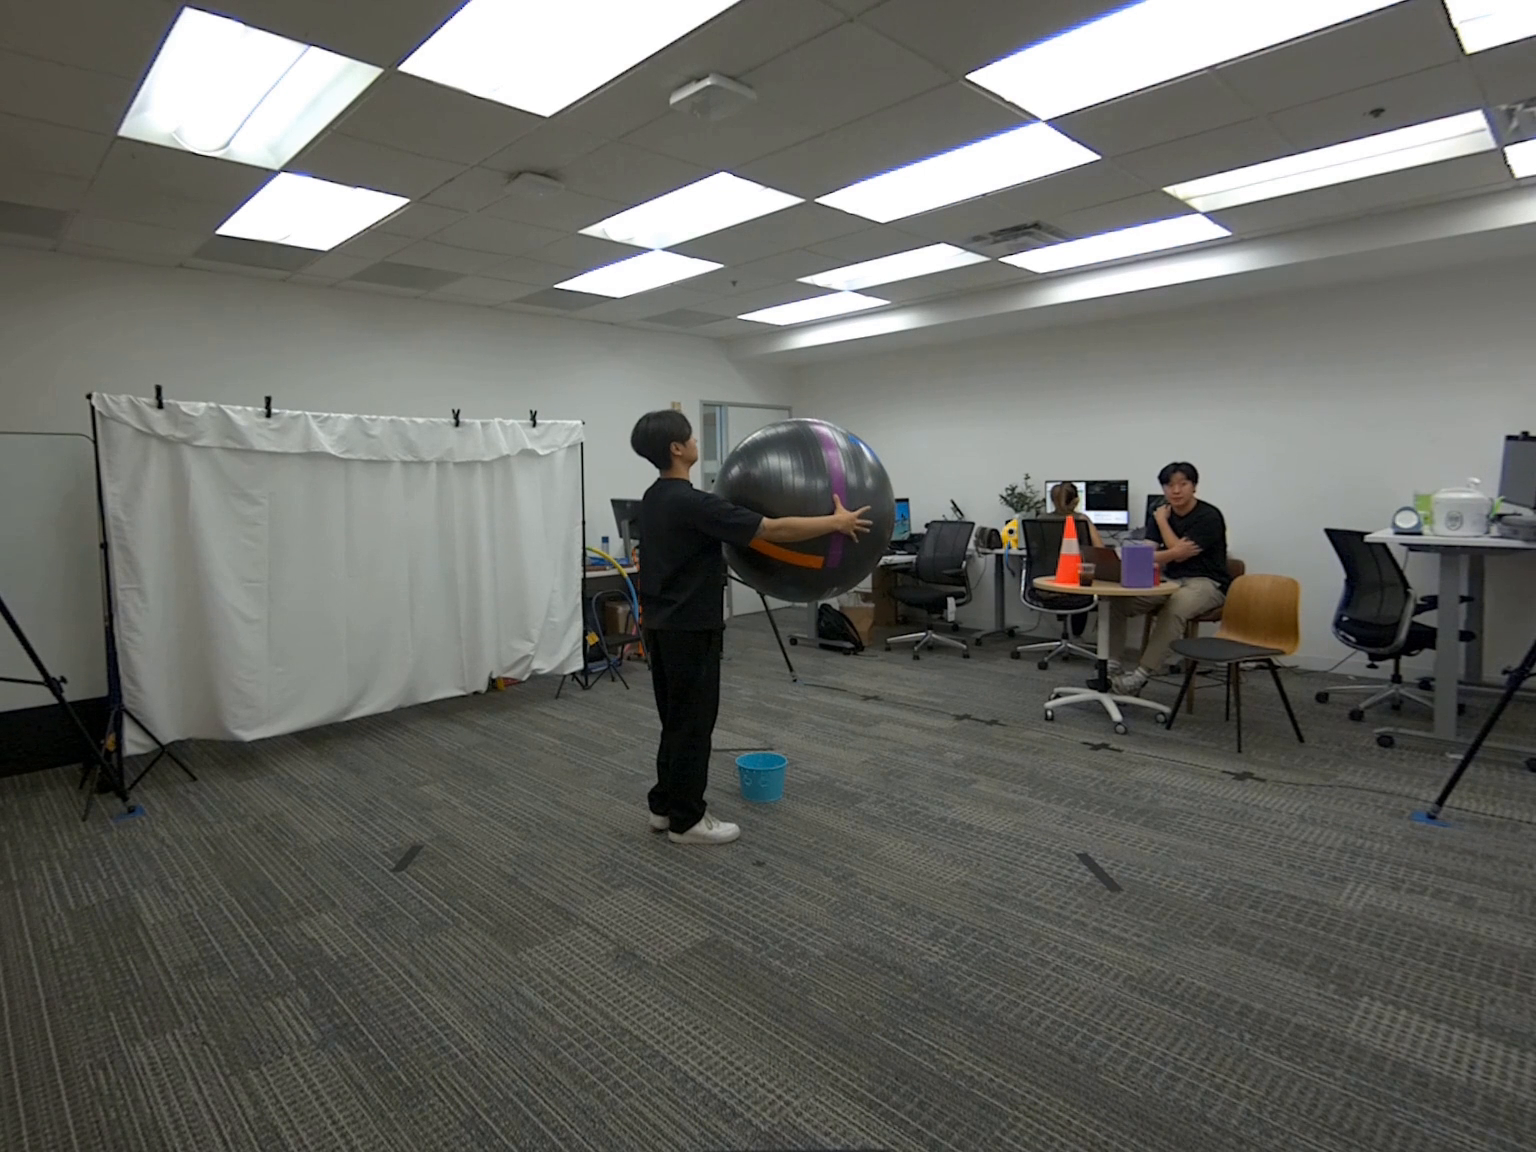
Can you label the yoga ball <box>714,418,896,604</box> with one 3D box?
[{"bbox_3d":[0.137,-0.266,3.549,0.757,0.755,0.762,-1,5,-2],"label":"yoga ball"}]
